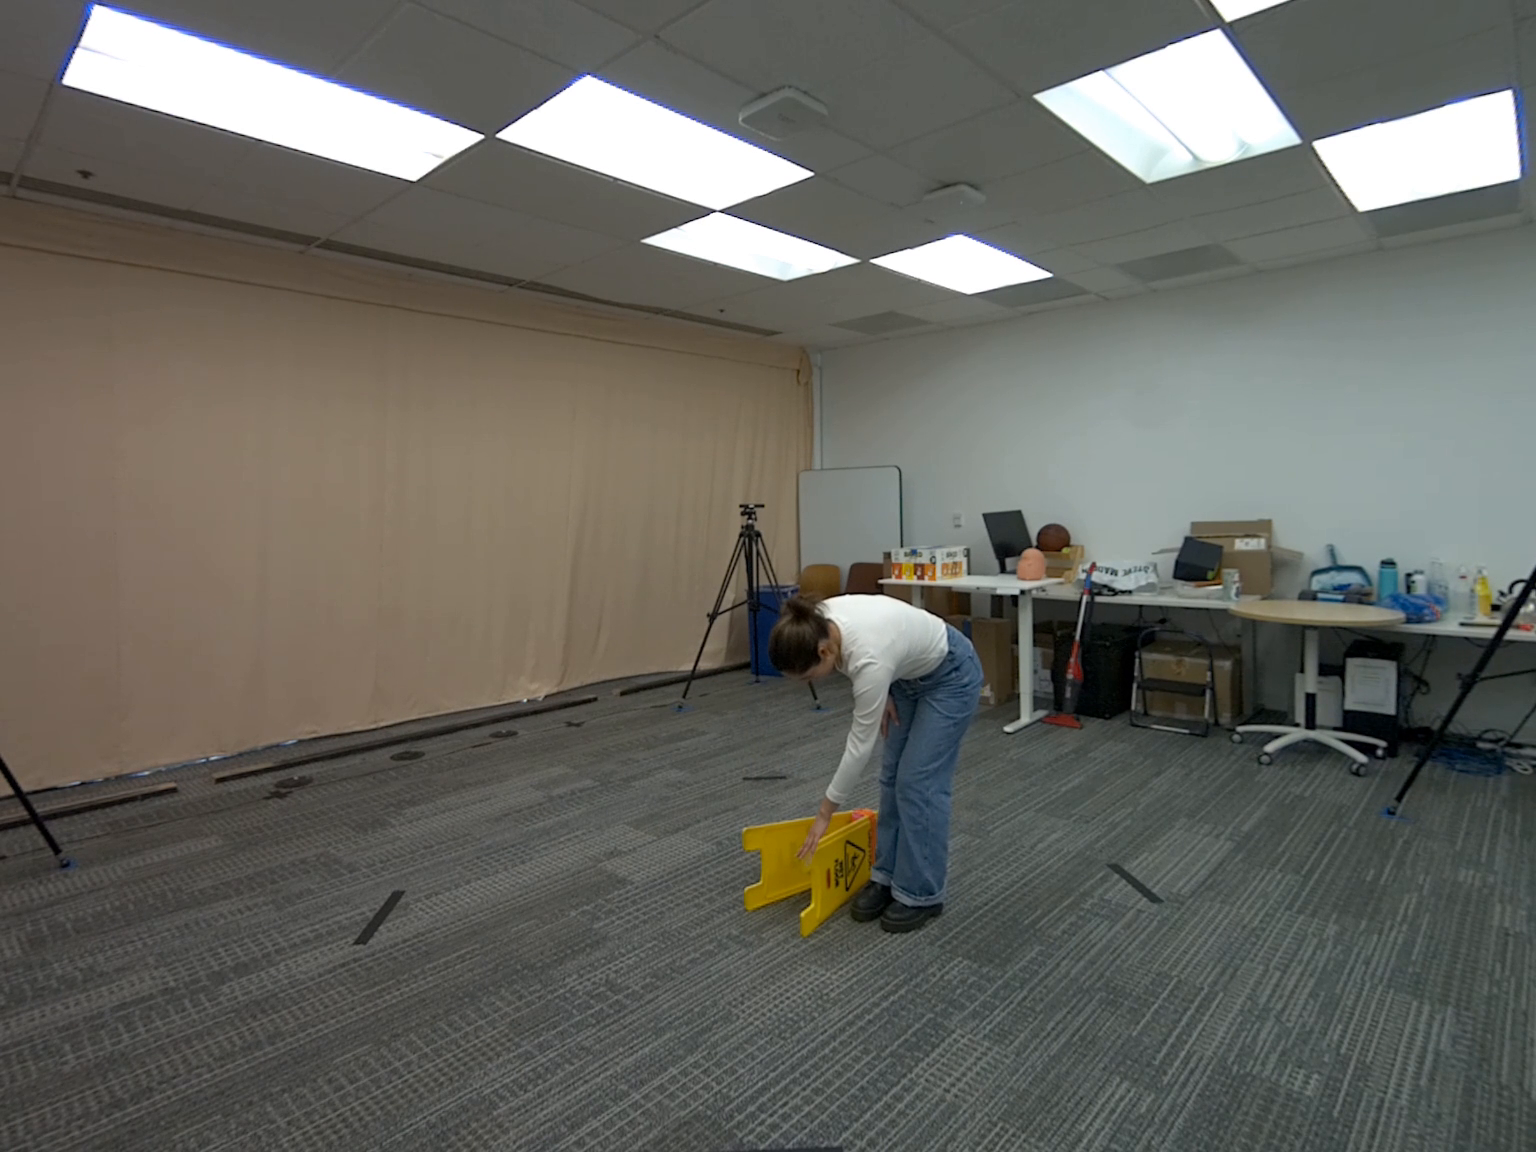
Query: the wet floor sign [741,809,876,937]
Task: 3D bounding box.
[{"bbox_3d":[0.235,1.003,3.016,0.626,0.282,0.299,-3,5,-45],"label":"wet floor sign"}]
